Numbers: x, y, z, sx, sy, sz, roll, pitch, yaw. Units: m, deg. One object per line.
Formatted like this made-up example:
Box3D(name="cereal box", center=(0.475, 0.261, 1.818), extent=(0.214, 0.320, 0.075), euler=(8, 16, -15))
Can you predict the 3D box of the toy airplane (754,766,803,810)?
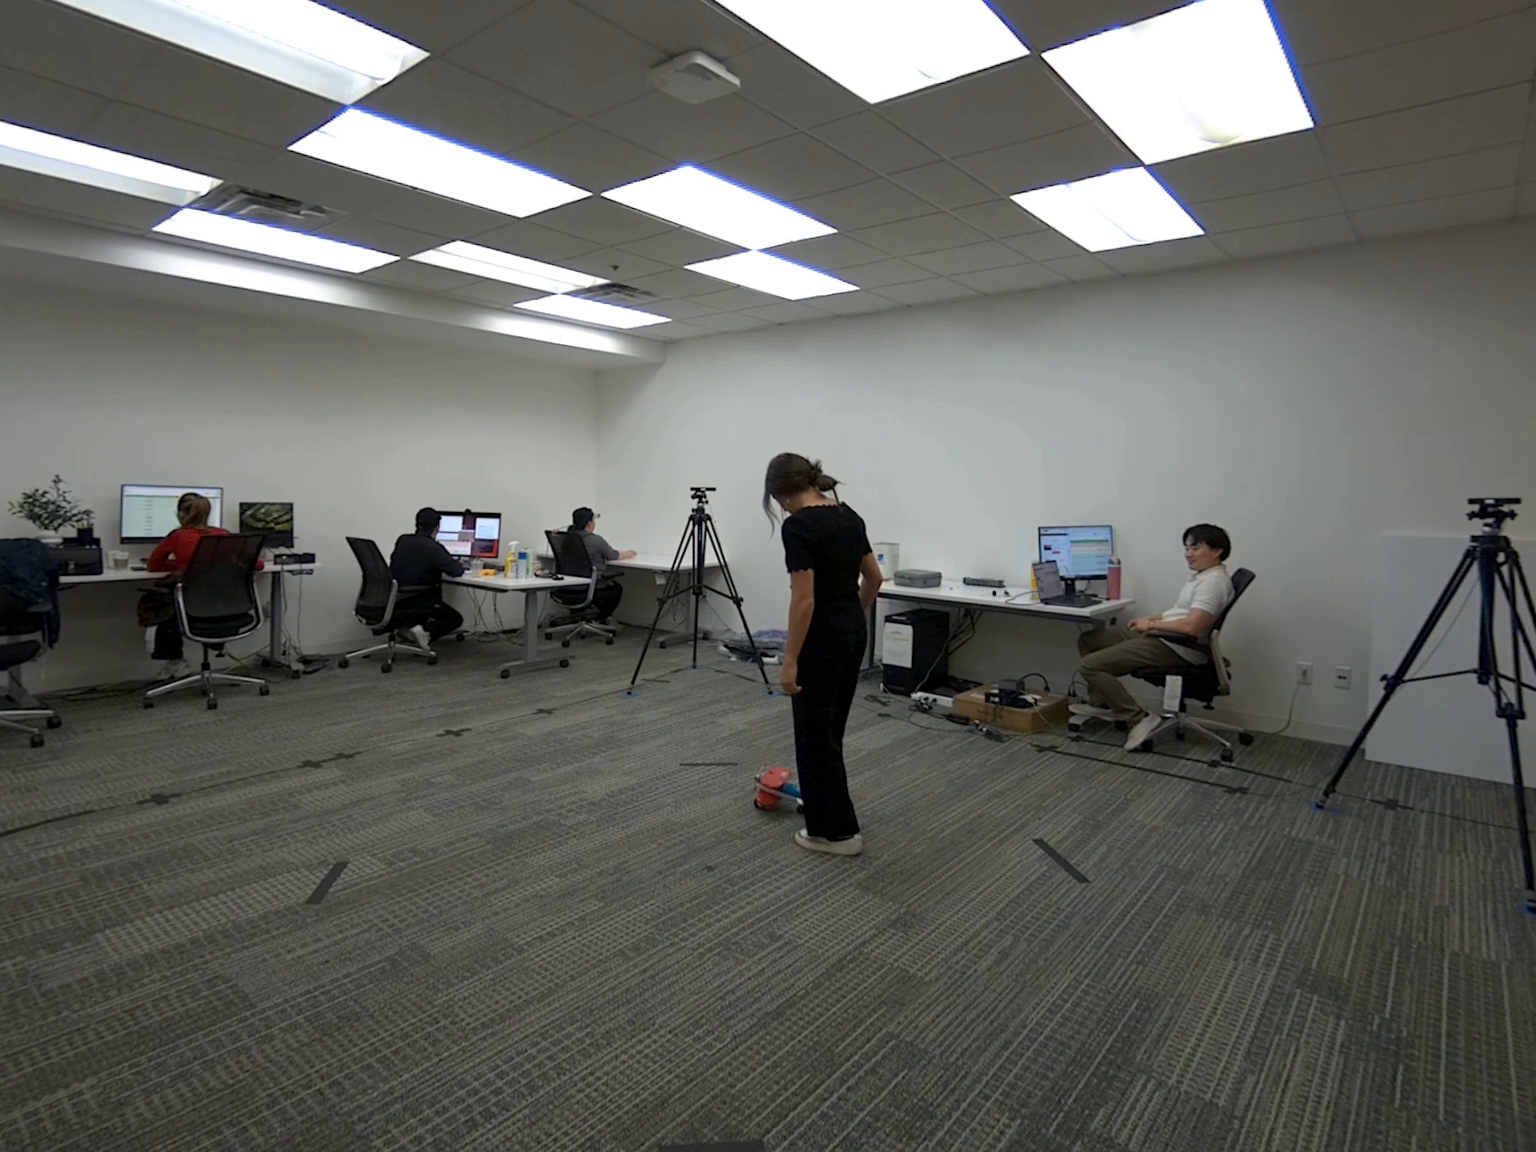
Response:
Box3D(name="toy airplane", center=(0.051, 0.934, 3.728), extent=(0.257, 0.156, 0.254), euler=(-2, 5, -7))
